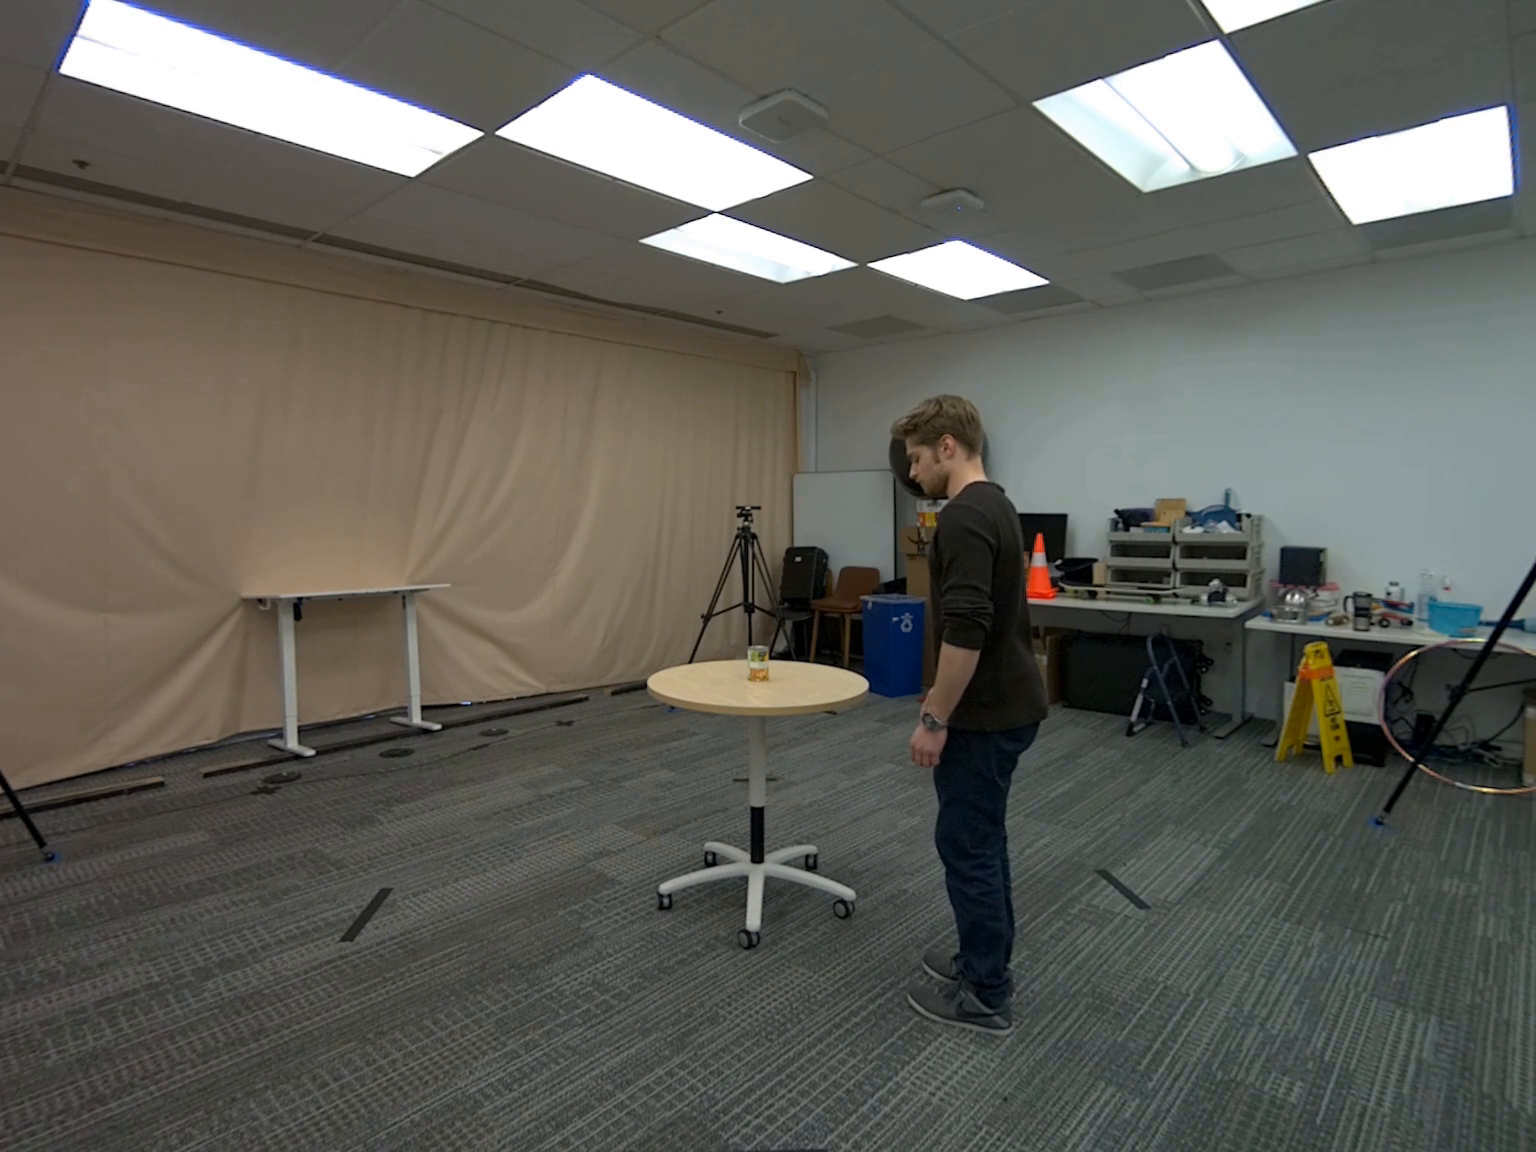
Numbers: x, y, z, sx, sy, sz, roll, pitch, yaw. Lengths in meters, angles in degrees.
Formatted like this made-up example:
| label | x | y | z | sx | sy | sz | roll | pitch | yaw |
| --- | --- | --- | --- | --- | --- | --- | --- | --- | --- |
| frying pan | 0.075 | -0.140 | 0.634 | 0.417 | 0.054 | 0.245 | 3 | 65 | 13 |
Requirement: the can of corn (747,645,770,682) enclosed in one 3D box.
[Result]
| label | x | y | z | sx | sy | sz | roll | pitch | yaw |
| --- | --- | --- | --- | --- | --- | --- | --- | --- | --- |
| can of corn | -0.032 | 0.307 | 2.946 | 0.074 | 0.111 | 0.074 | 2 | 4 | -2 |
